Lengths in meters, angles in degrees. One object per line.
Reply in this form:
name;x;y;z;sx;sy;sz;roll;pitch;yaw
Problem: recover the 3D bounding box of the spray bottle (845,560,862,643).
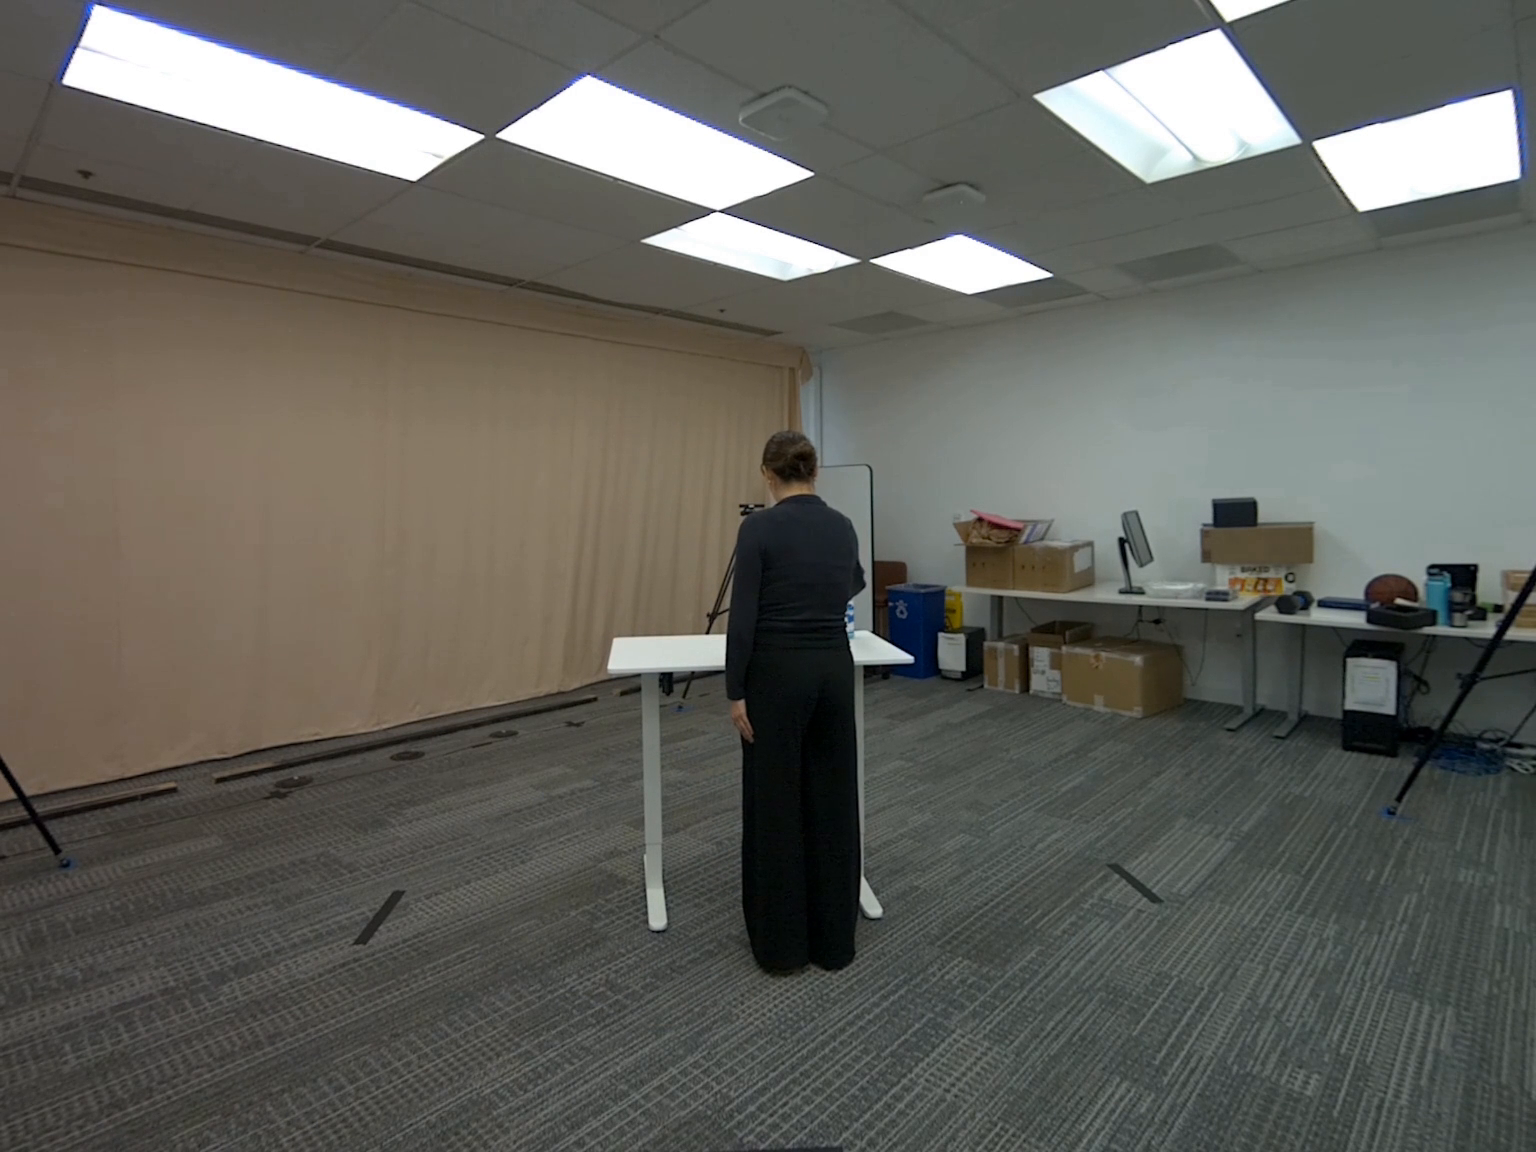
spray bottle;0.298;0.091;3.181;0.088;0.296;0.089;0;4;15
